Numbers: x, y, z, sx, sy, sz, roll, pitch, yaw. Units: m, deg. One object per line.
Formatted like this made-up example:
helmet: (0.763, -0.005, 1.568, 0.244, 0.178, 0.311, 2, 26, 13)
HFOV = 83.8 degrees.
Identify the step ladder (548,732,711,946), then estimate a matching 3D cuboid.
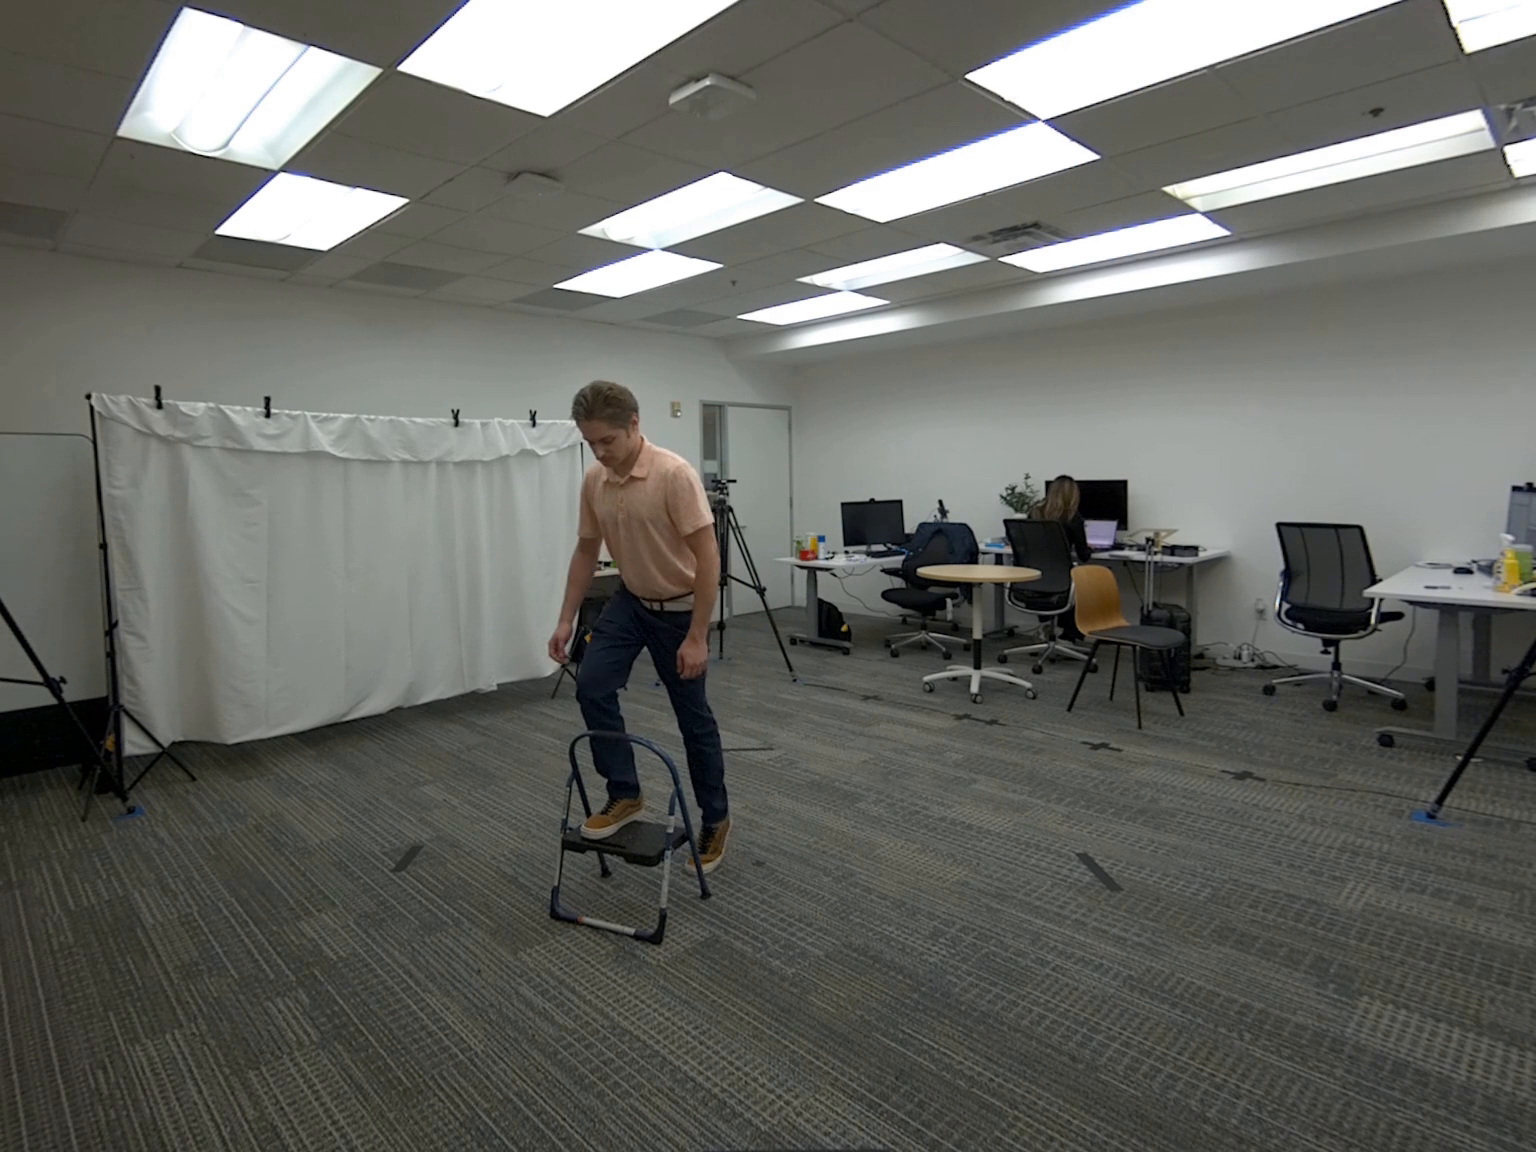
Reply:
step ladder: (-0.453, 0.791, 2.793, 0.440, 0.604, 0.343, 1, 5, 24)
